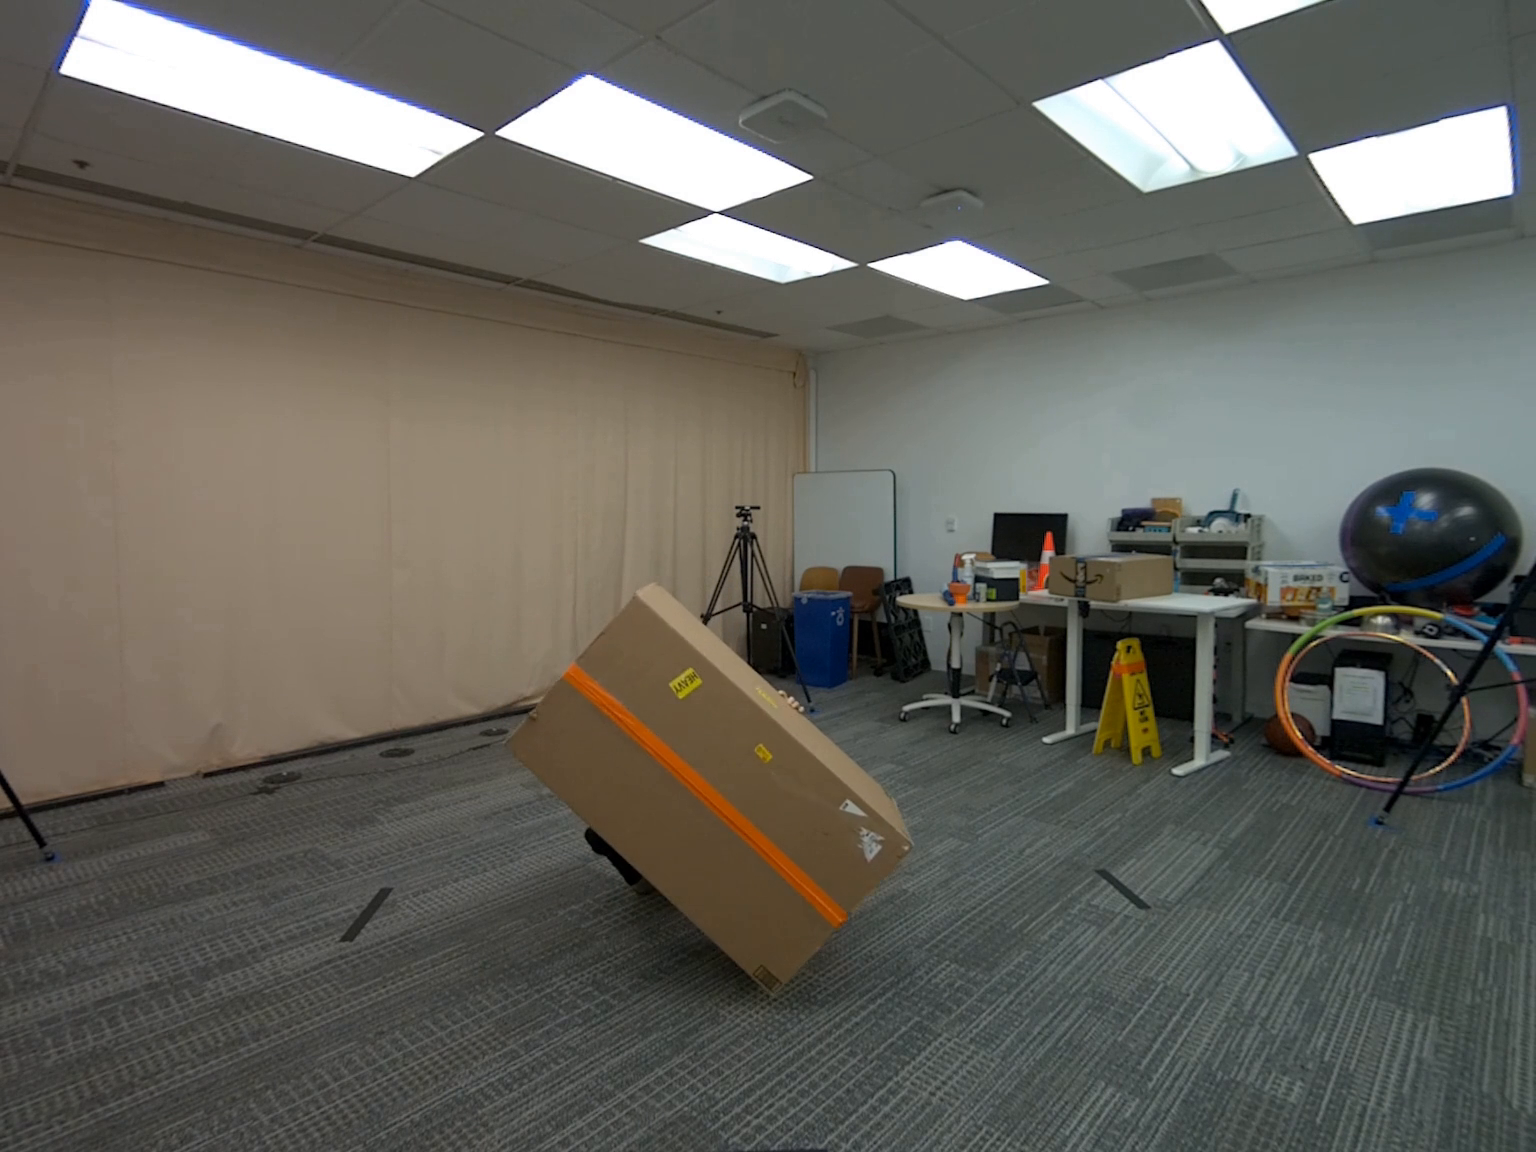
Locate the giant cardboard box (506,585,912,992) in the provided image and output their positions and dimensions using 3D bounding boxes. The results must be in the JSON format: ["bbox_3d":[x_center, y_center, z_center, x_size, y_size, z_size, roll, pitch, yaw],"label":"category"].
[{"bbox_3d":[-0.172,0.588,2.502,1.028,0.578,0.425,42,3,1],"label":"giant cardboard box"}]
